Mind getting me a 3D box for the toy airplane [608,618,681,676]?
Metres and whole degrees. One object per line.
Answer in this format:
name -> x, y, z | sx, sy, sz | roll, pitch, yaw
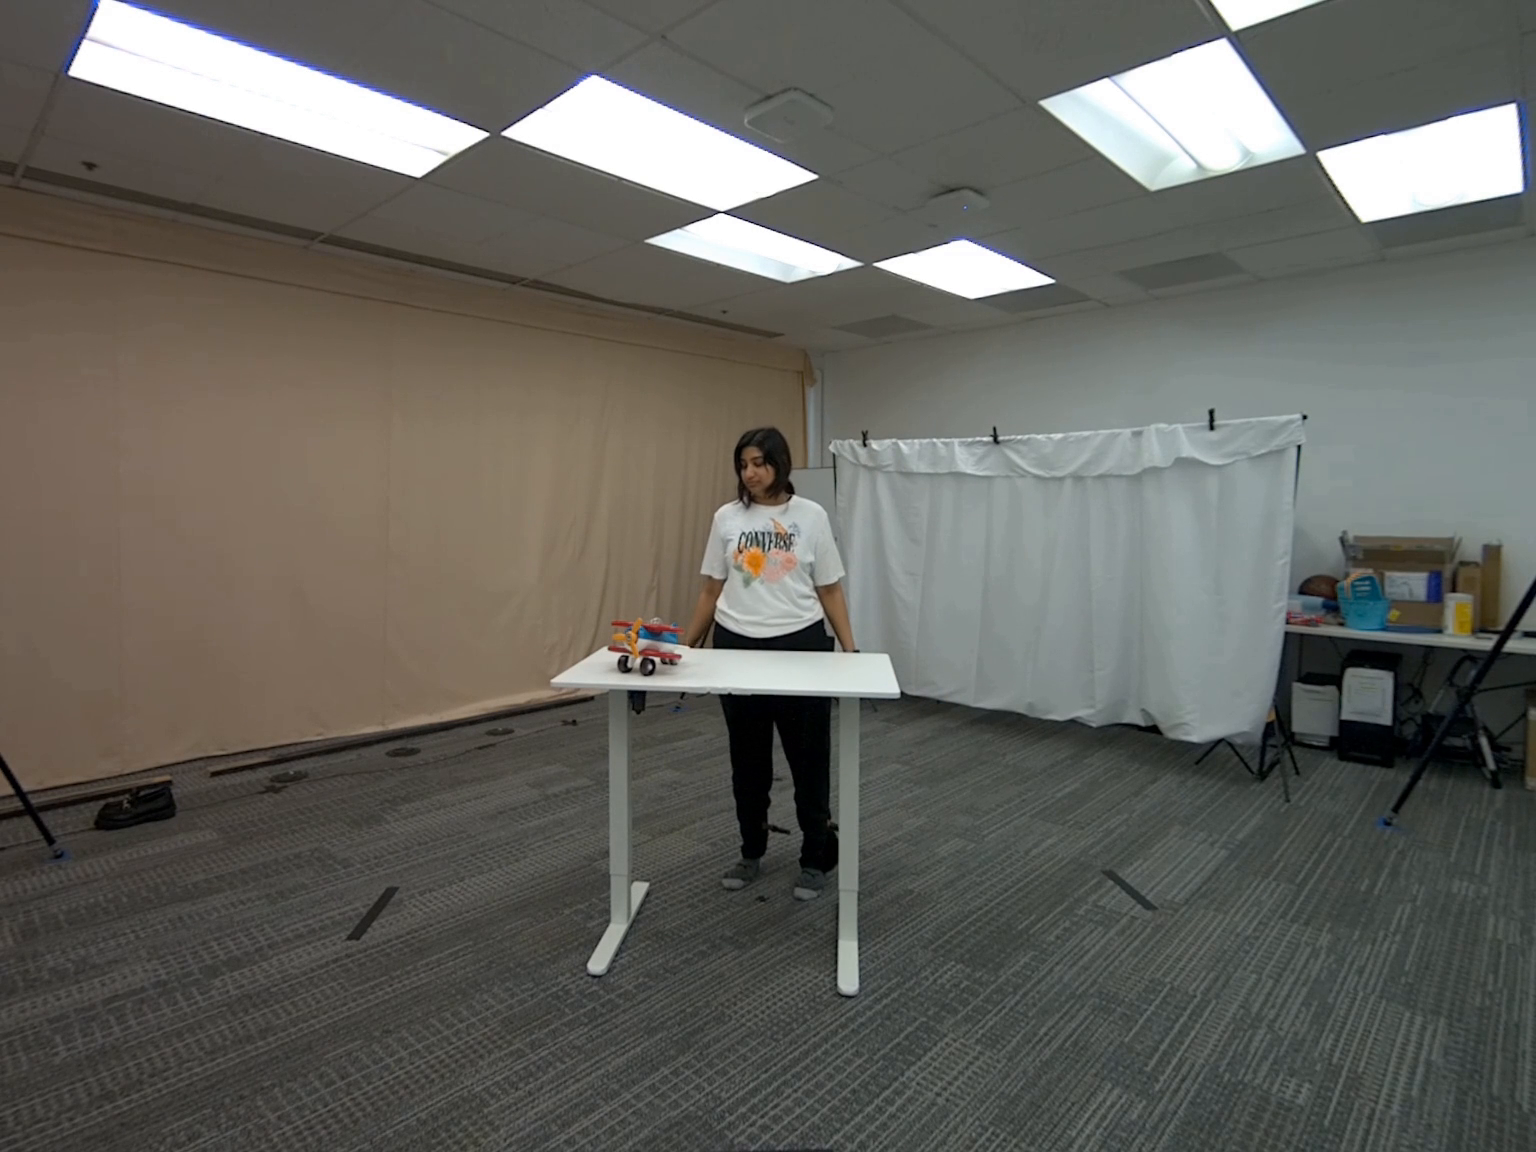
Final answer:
toy airplane -> -0.385, 0.215, 2.626 | 0.252, 0.156, 0.260 | 1, 7, 1
